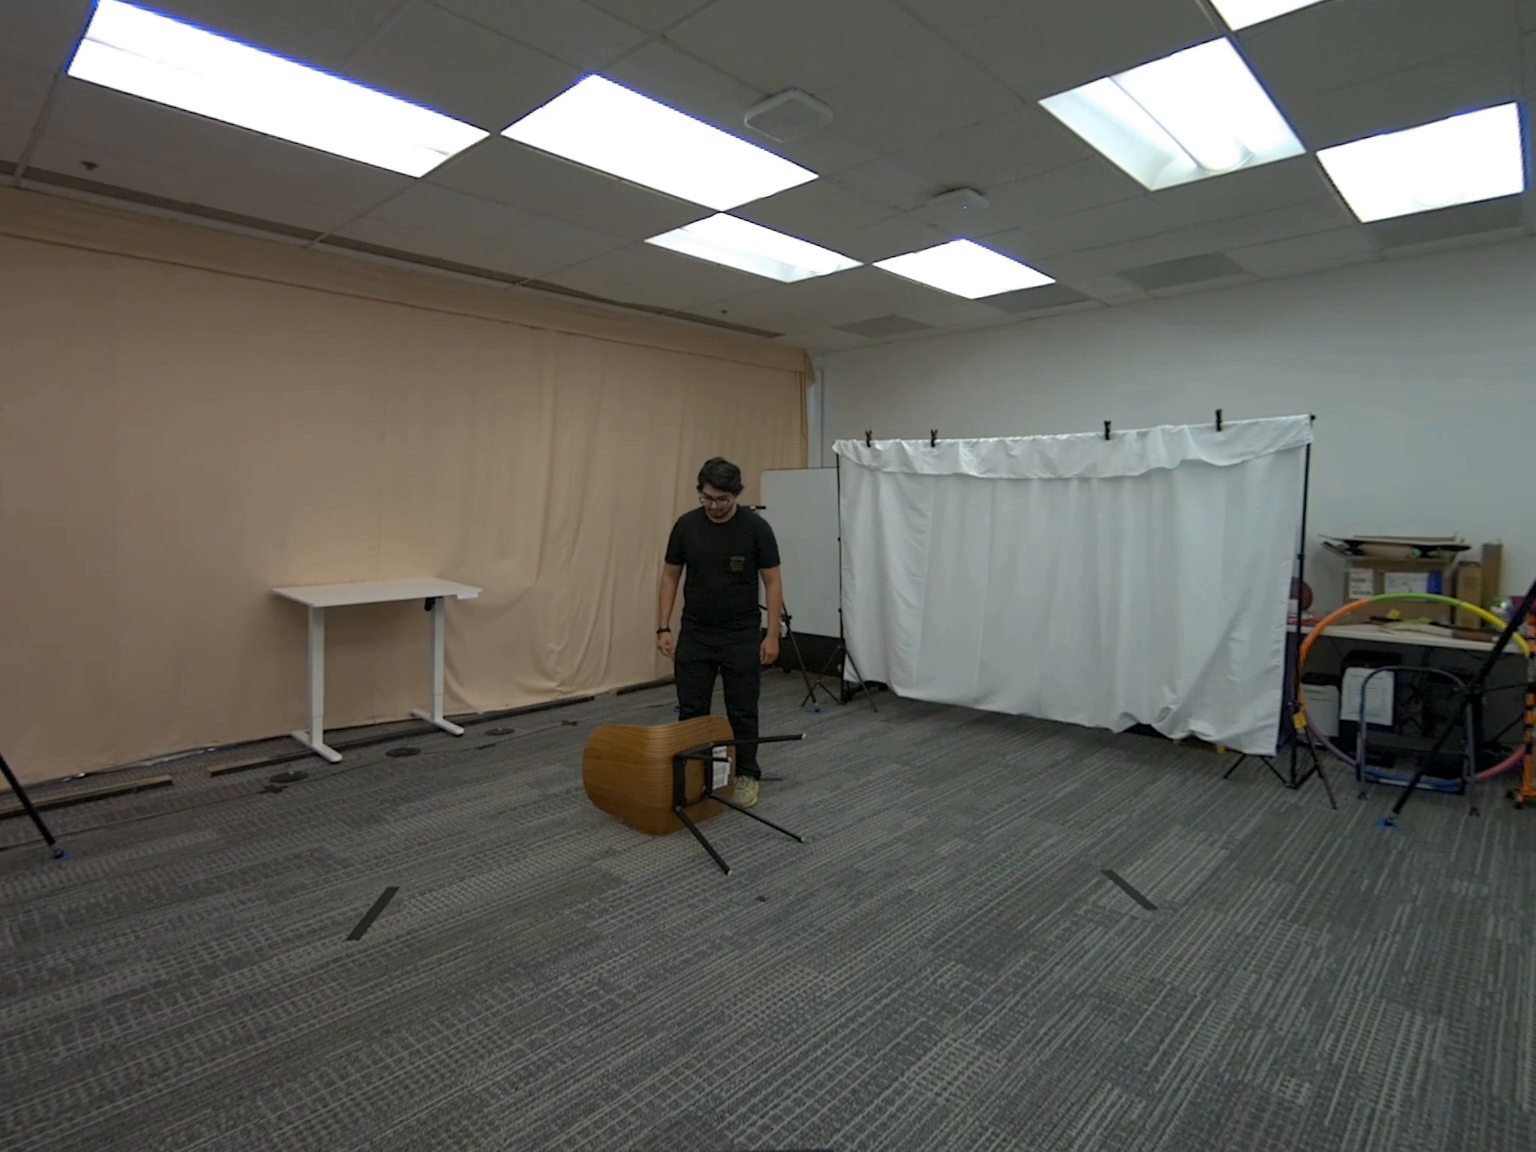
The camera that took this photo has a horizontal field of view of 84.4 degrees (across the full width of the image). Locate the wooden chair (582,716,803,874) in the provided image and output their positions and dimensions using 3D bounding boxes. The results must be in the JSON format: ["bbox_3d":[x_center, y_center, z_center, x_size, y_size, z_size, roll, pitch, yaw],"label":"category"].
[{"bbox_3d":[-0.315,0.859,3.620,0.906,0.477,0.508,3,5,38],"label":"wooden chair"}]
